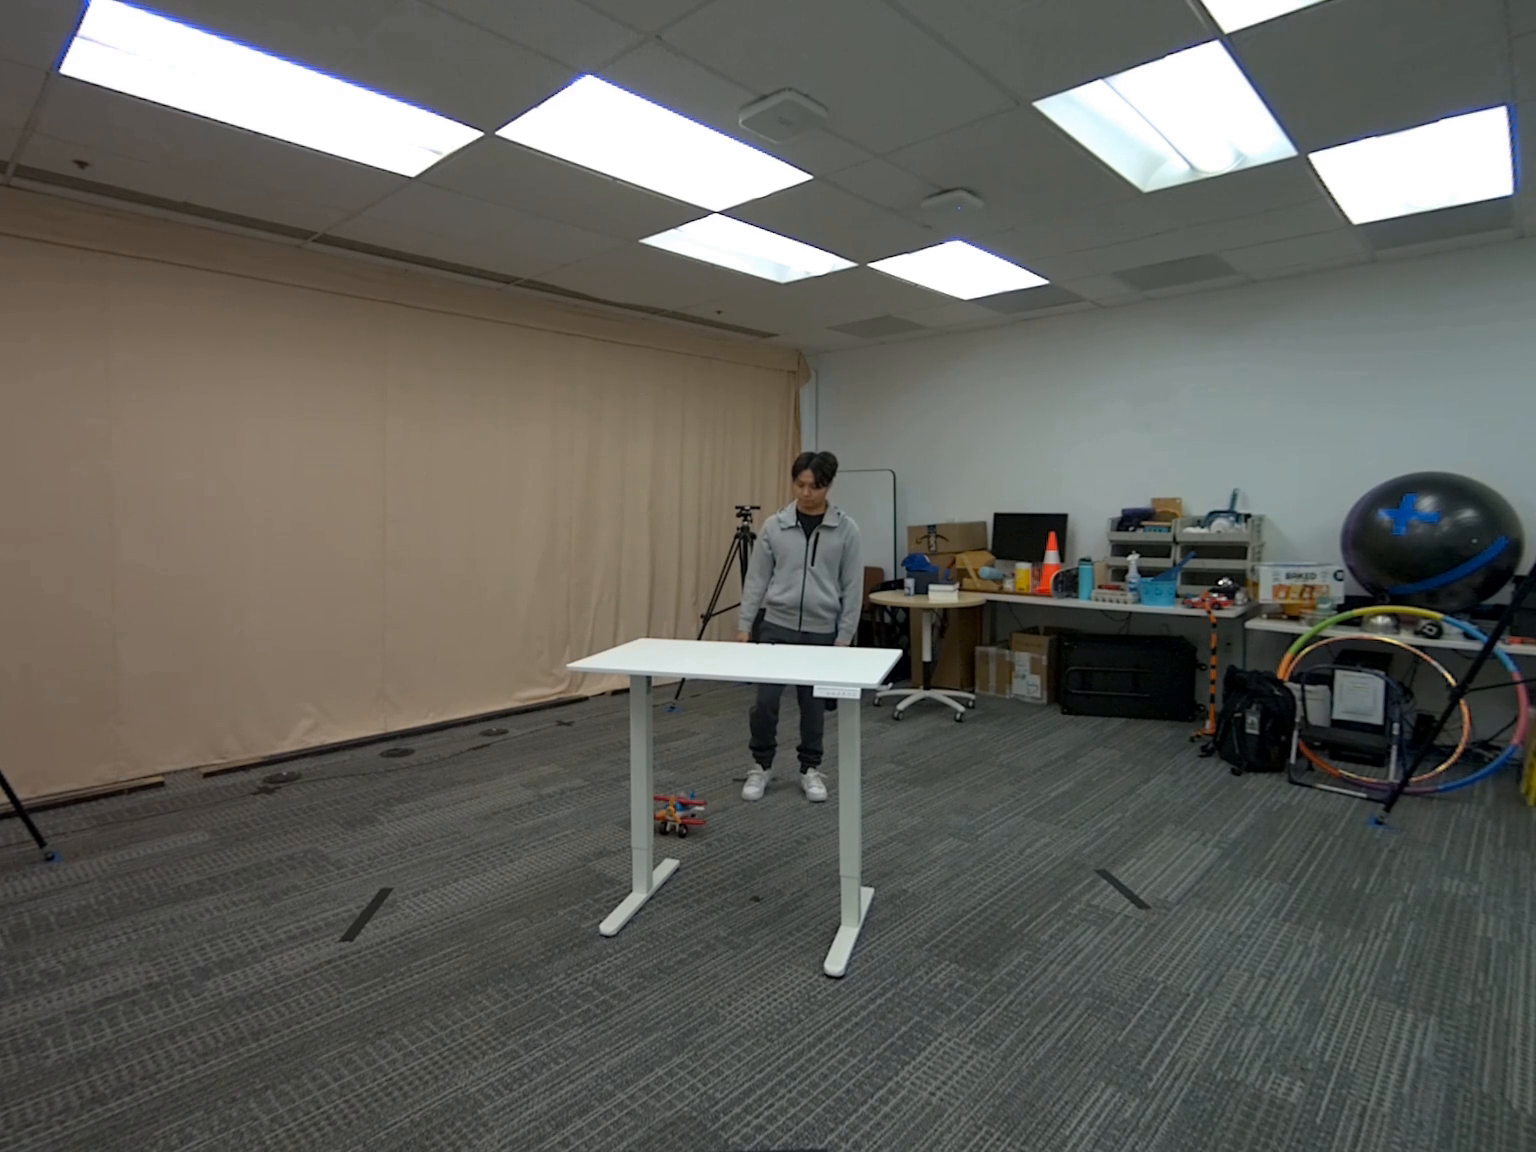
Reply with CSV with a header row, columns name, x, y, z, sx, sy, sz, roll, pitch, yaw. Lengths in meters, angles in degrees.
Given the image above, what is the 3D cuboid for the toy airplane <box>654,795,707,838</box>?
name,x,y,z,sx,sy,sz,roll,pitch,yaw
toy airplane,-0.389,1.015,3.634,0.249,0.156,0.262,-1,5,-8
